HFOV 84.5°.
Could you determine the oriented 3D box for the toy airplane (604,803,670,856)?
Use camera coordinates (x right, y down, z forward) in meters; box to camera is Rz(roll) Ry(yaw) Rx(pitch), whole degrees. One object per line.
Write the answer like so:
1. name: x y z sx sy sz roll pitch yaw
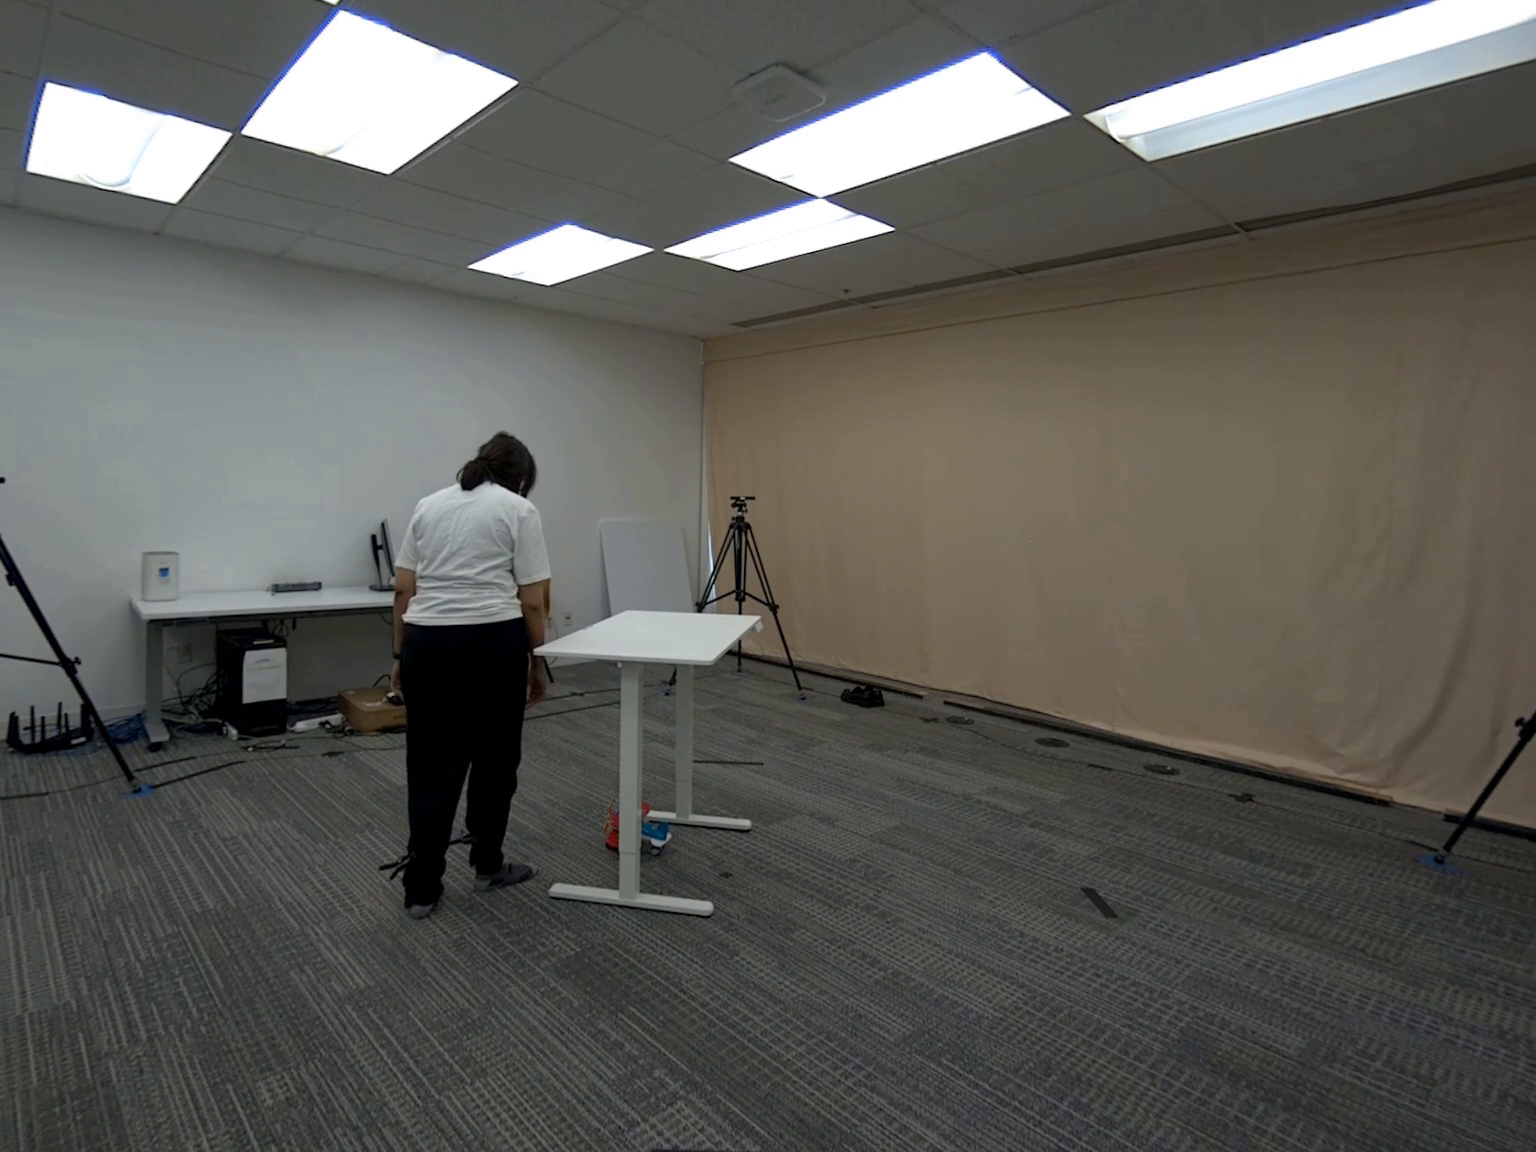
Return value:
1. toy airplane: -0.523 1.003 3.325 0.257 0.156 0.253 0 5 -9
